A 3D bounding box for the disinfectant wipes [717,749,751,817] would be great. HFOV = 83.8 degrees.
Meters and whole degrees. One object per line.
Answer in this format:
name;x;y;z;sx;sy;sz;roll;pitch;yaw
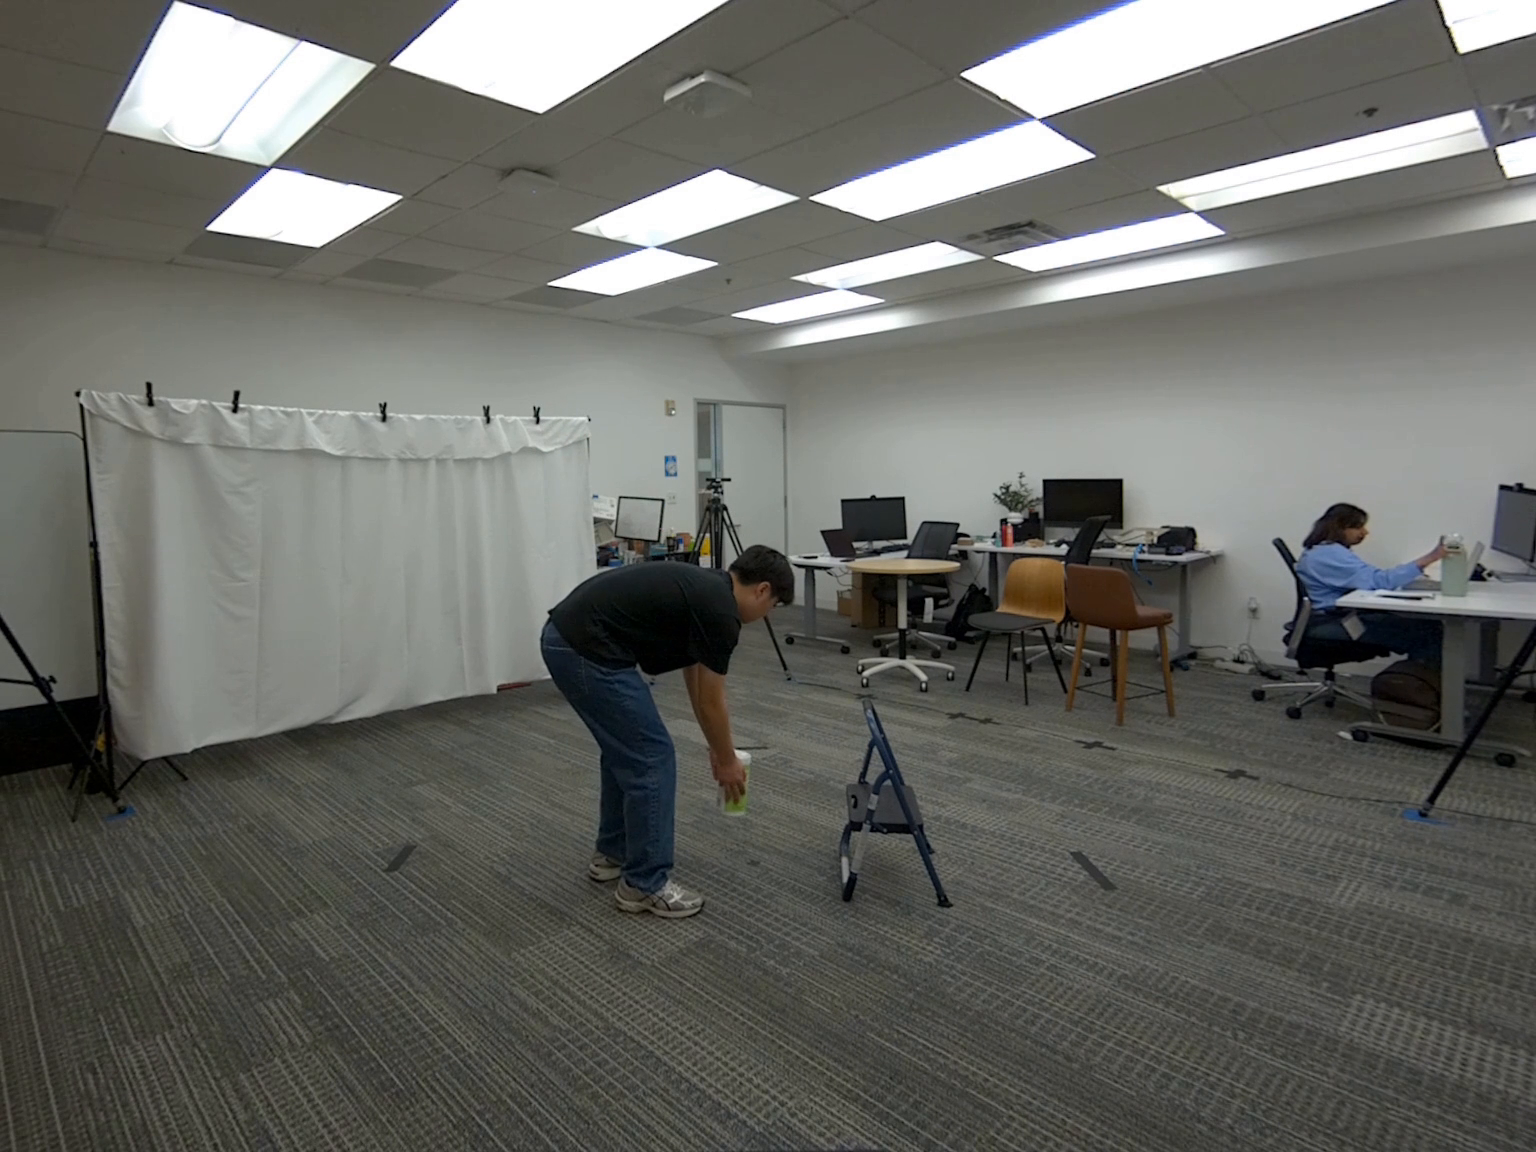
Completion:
disinfectant wipes;-0.127;0.734;3.051;0.118;0.217;0.118;7;1;-2
